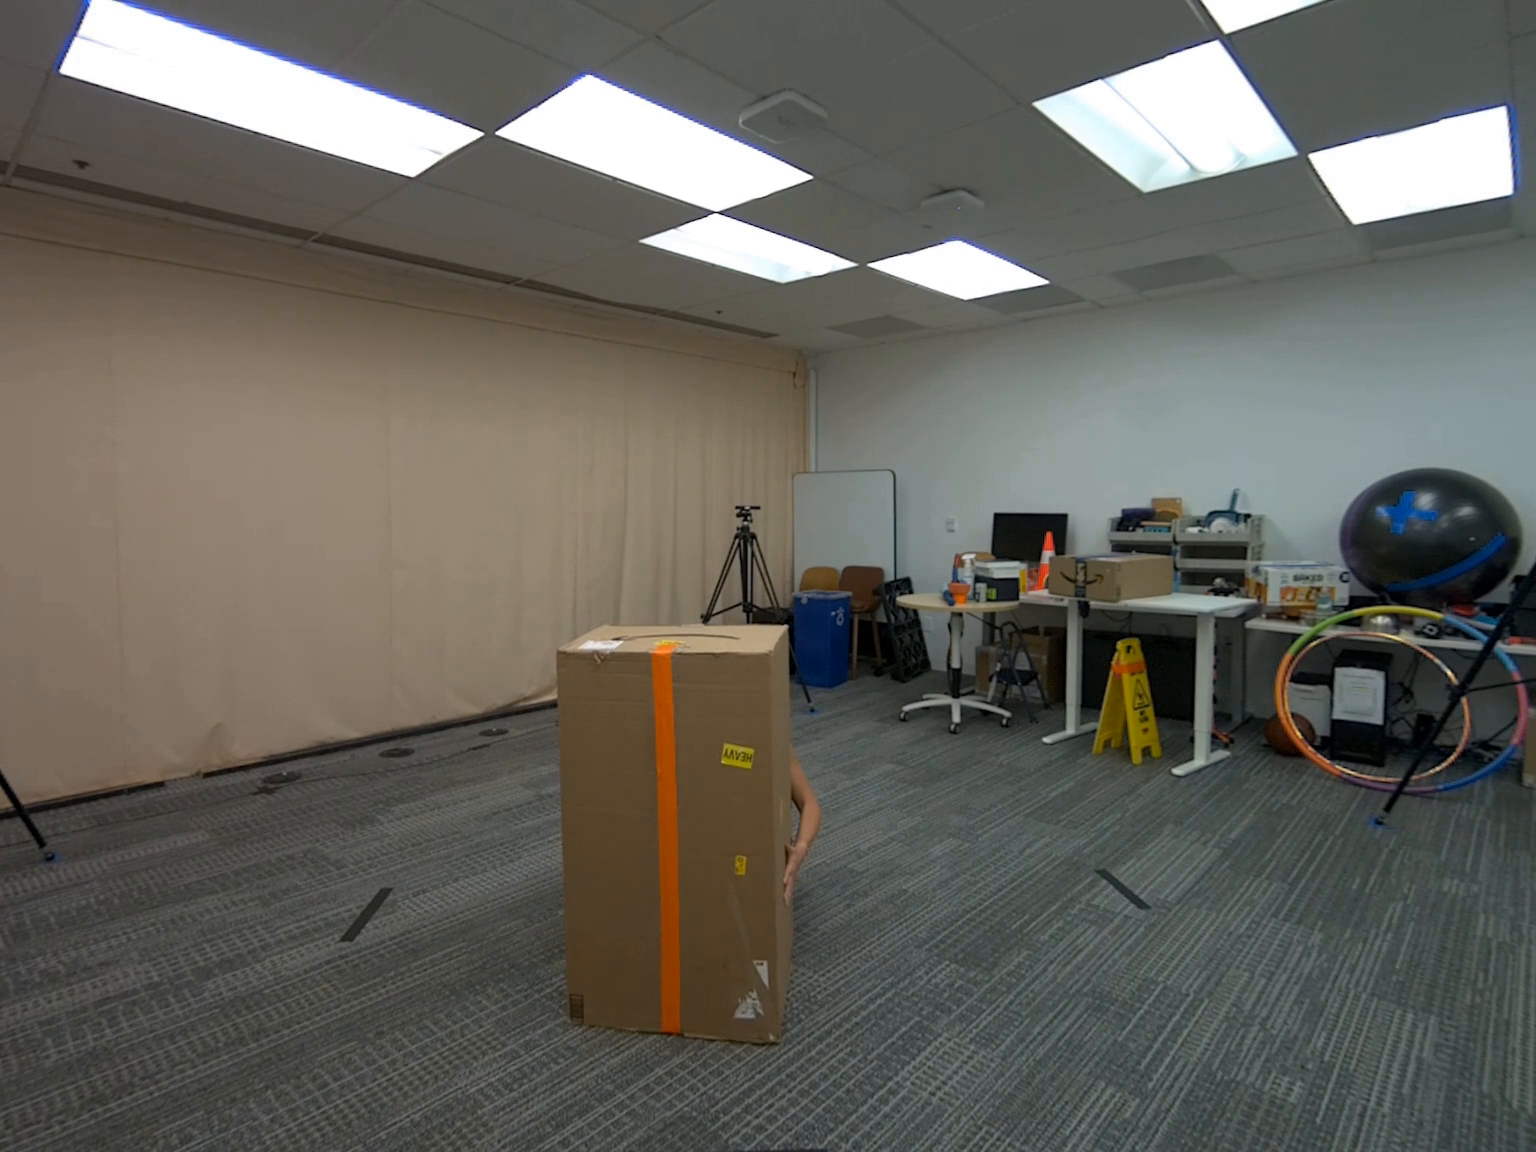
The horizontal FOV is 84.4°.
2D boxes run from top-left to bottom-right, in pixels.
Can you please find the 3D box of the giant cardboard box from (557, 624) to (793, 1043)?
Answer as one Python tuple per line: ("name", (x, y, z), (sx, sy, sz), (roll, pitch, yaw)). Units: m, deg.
("giant cardboard box", (-0.230, 0.680, 2.385), (0.583, 1.023, 0.424), (-1, 4, 7))
